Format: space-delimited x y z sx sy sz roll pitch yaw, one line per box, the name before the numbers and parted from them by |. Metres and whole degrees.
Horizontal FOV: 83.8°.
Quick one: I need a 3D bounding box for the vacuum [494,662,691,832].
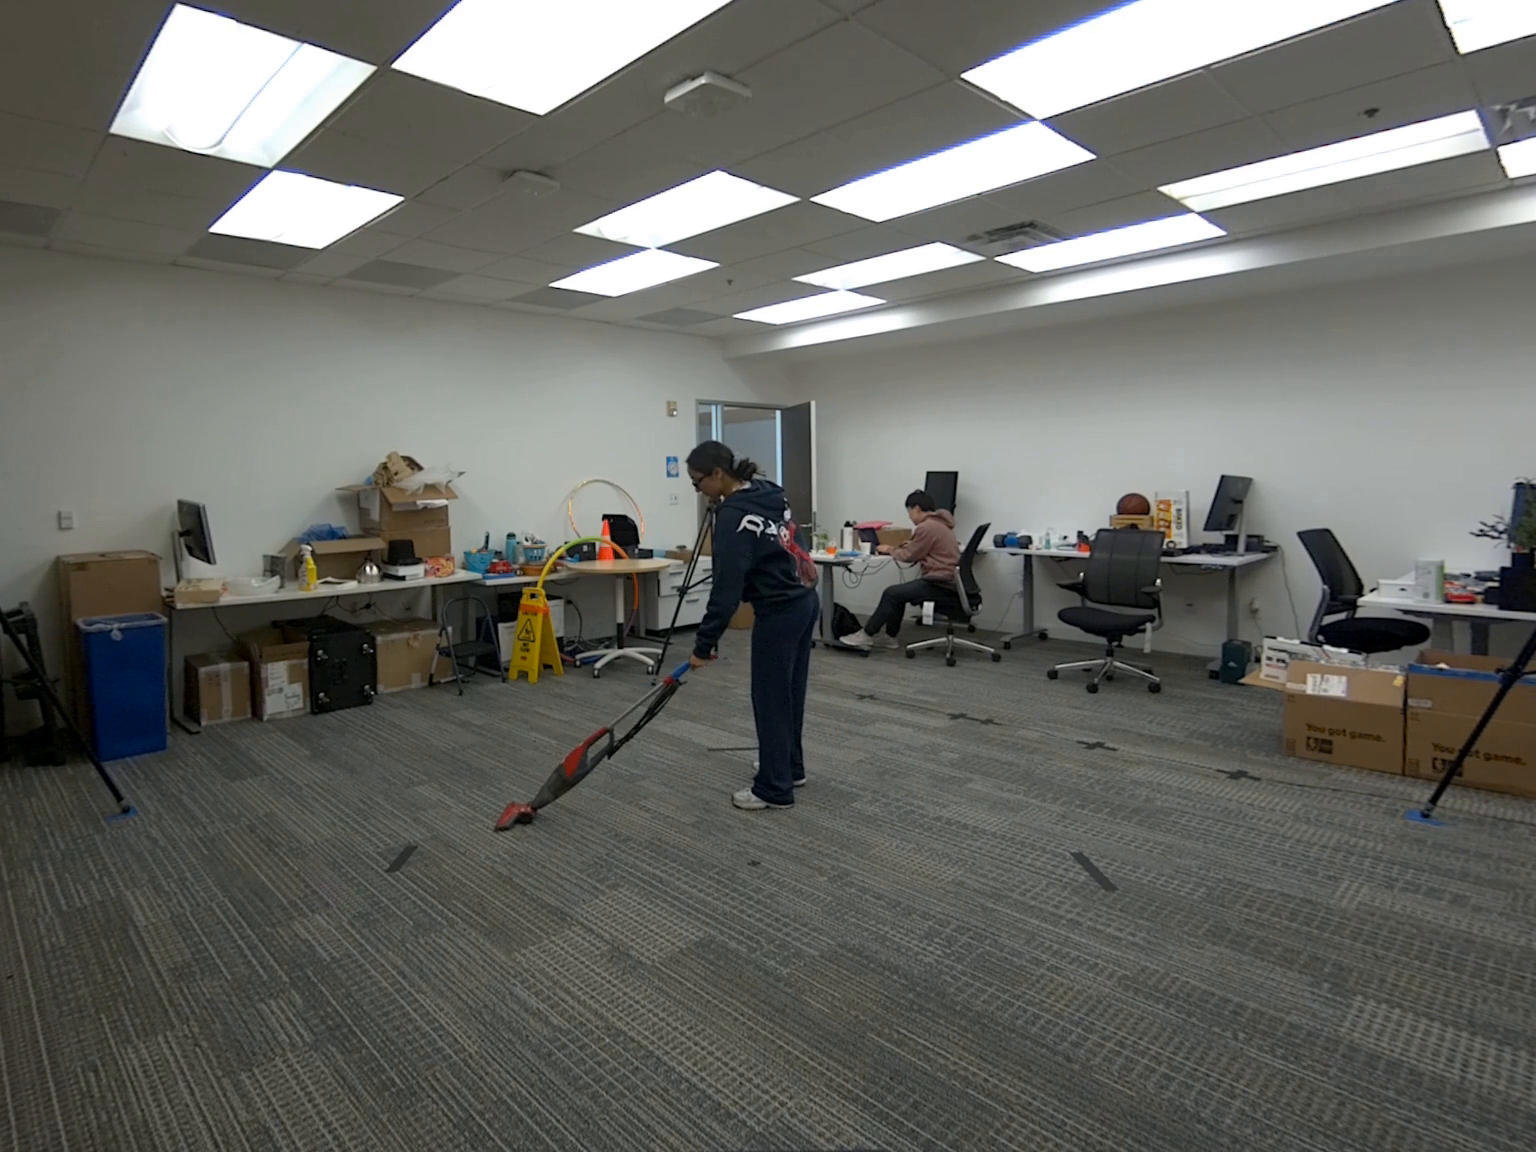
vacuum | -0.625 0.668 3.549 1.049 0.142 0.256 -39 13 2
